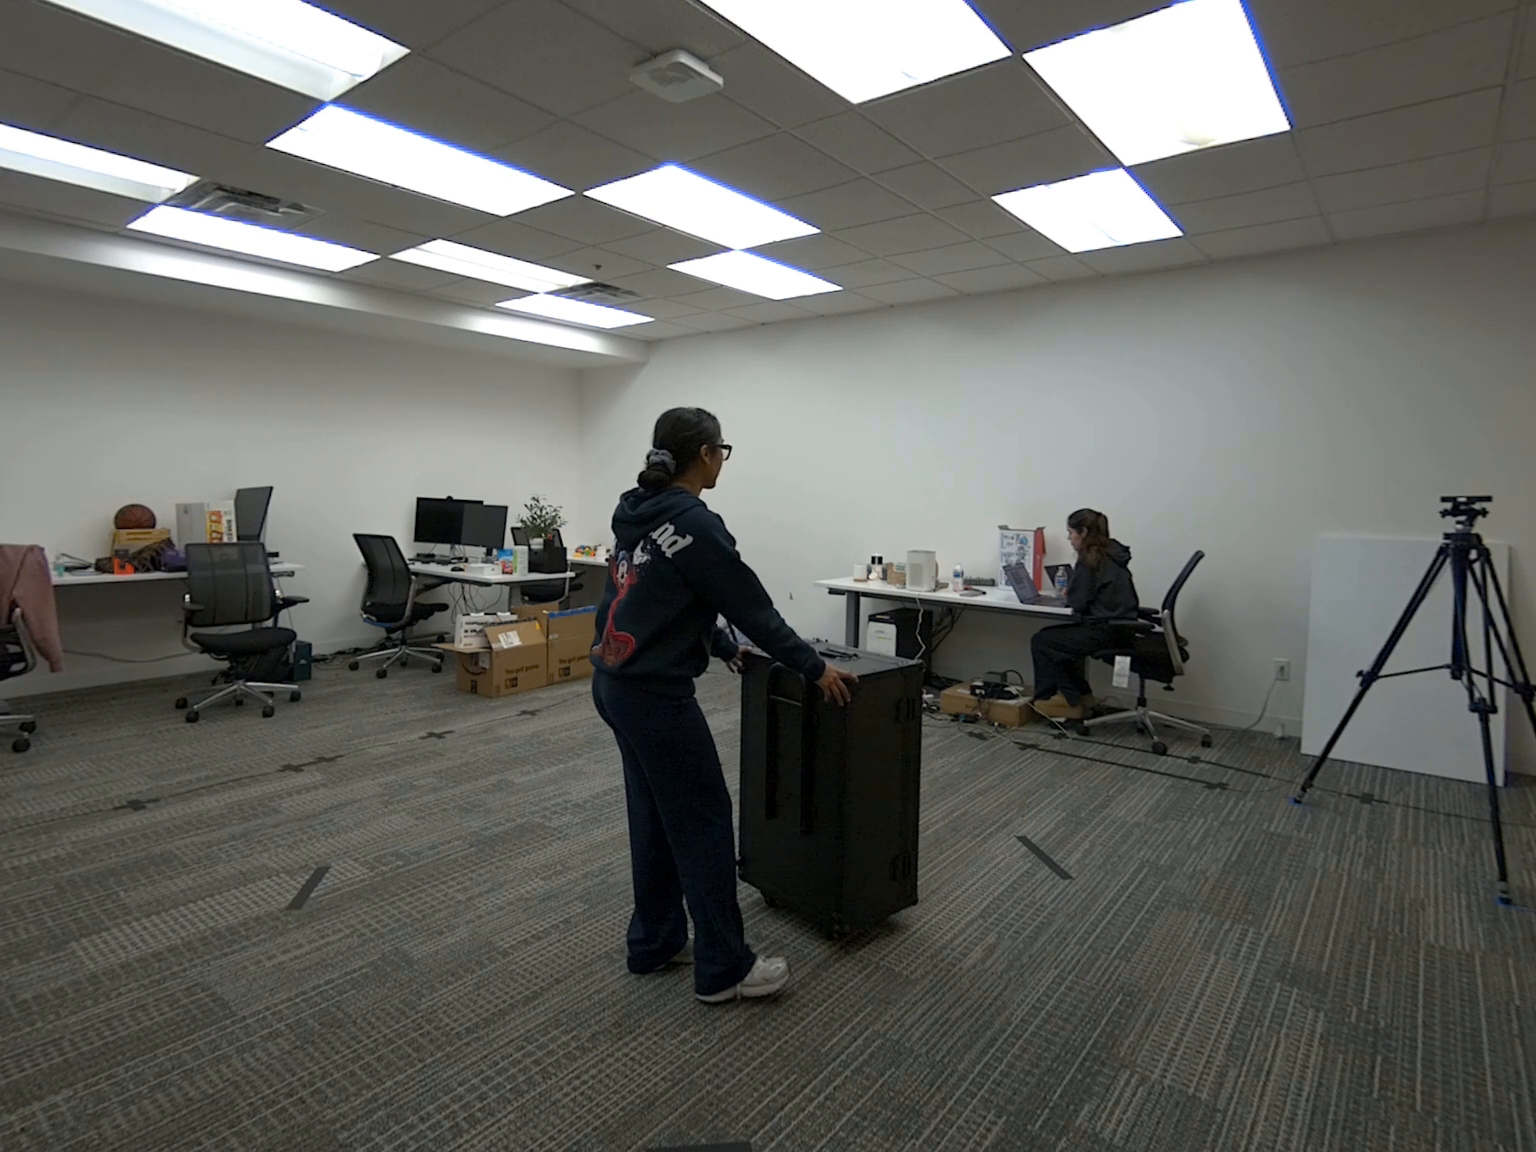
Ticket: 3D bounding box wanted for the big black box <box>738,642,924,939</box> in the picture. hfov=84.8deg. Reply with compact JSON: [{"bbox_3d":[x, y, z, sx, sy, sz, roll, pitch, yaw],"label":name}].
[{"bbox_3d":[0.187,0.685,2.774,0.385,0.858,0.539,-4,6,-40],"label":"big black box"}]
